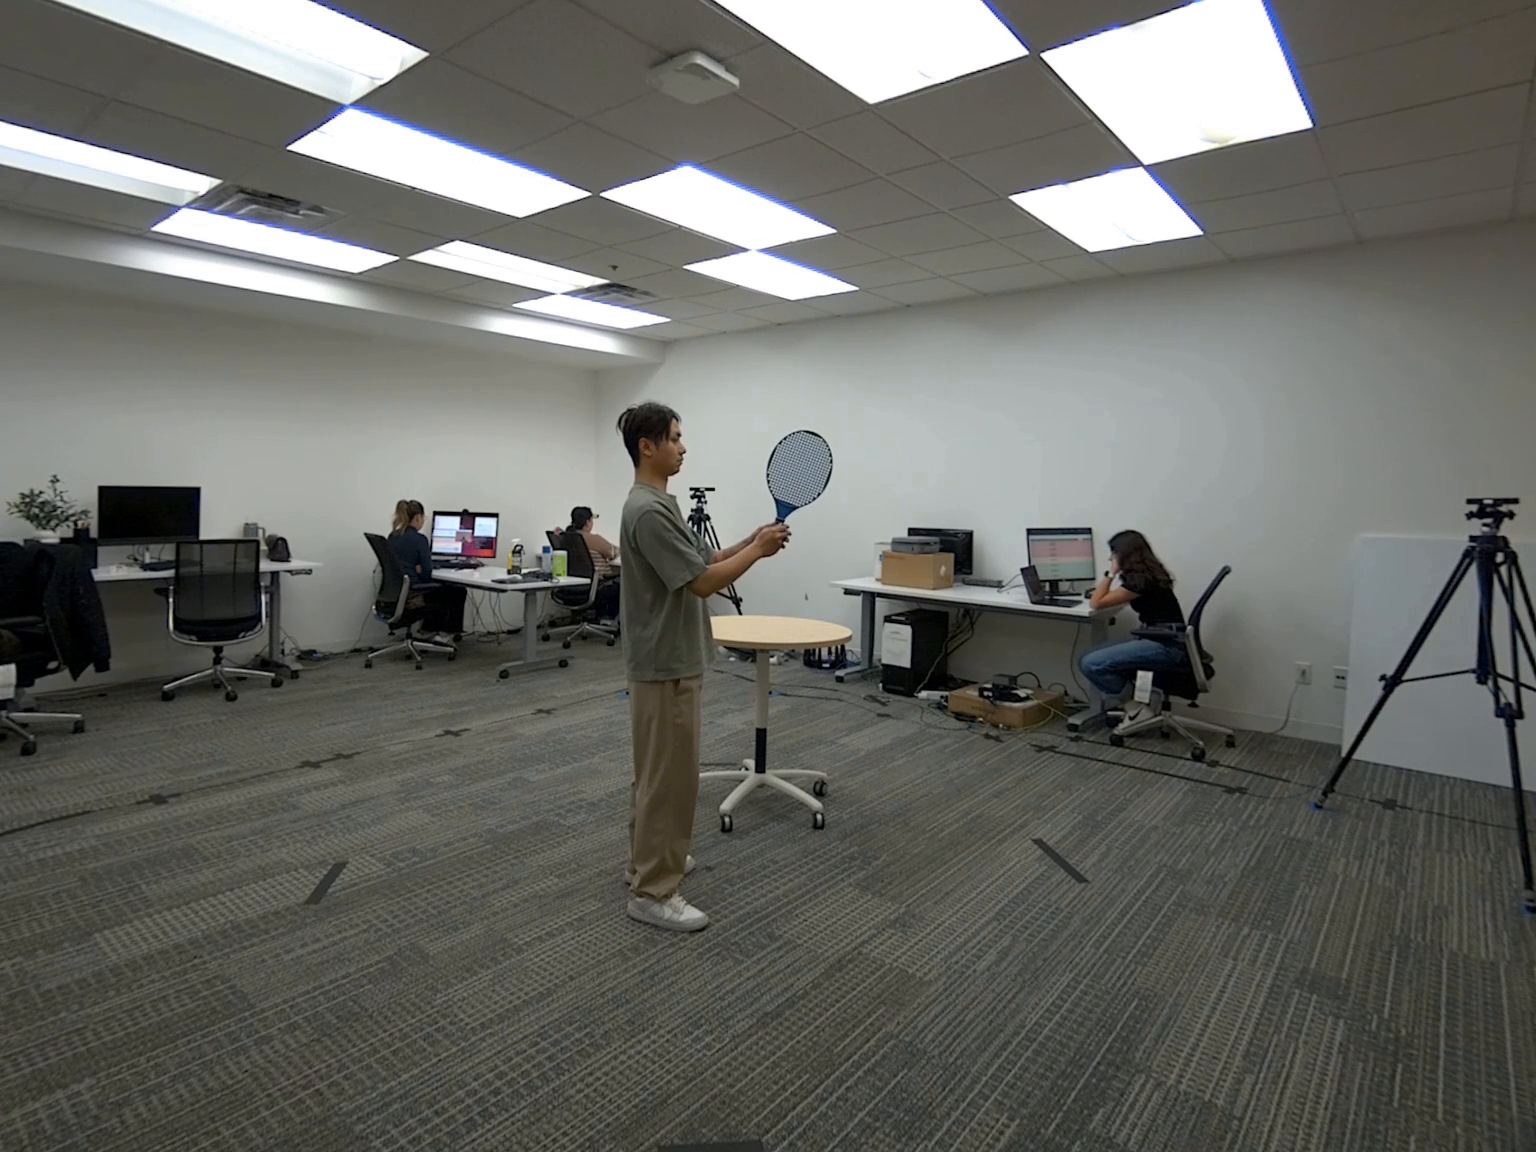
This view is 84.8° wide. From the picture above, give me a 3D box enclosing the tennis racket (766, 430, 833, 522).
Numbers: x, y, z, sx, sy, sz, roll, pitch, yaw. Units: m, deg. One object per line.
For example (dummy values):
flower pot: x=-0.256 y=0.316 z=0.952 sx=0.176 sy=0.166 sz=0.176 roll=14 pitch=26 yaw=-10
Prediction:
tennis racket: x=0.064 y=-0.283 z=2.832 sx=0.215 sy=0.433 sz=0.031 roll=23 pitch=-3 yaw=3
